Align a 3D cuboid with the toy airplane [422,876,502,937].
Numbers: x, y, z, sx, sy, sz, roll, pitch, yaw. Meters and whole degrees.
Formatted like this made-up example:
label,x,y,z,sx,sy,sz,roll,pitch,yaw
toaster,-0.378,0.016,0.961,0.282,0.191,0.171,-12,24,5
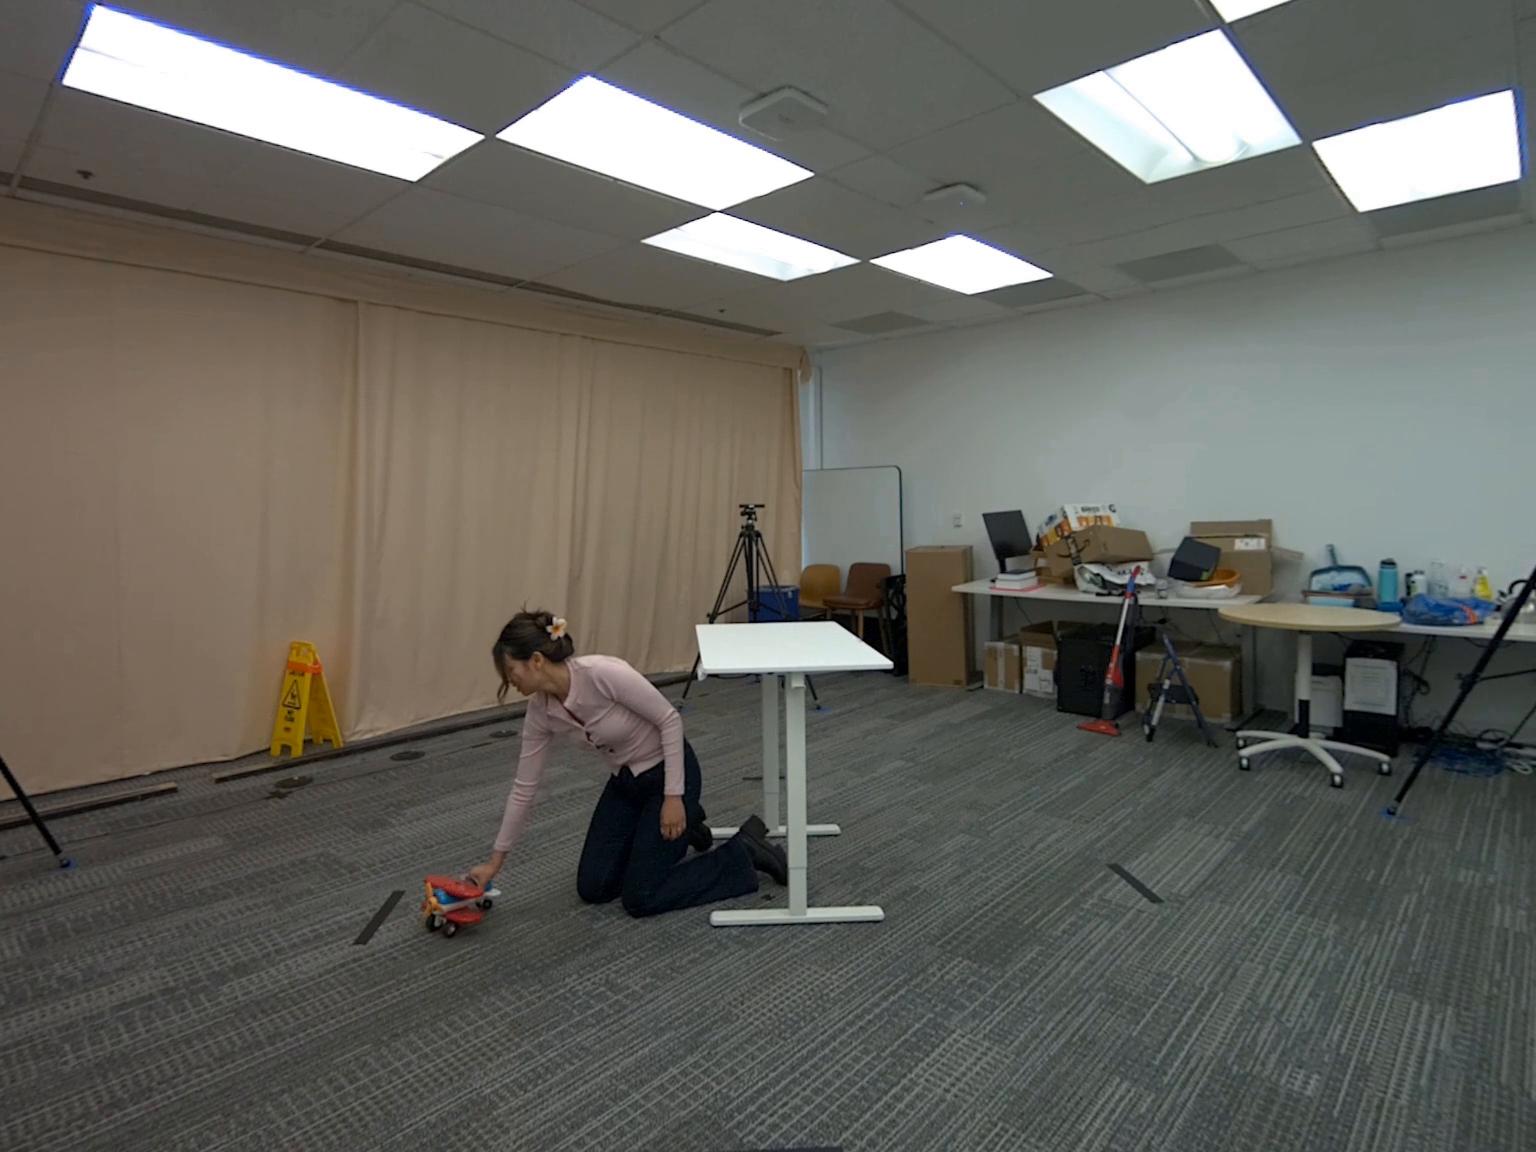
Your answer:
label,x,y,z,sx,sy,sz,roll,pitch,yaw
toy airplane,-1.055,1.099,2.843,0.253,0.155,0.259,-4,8,6
